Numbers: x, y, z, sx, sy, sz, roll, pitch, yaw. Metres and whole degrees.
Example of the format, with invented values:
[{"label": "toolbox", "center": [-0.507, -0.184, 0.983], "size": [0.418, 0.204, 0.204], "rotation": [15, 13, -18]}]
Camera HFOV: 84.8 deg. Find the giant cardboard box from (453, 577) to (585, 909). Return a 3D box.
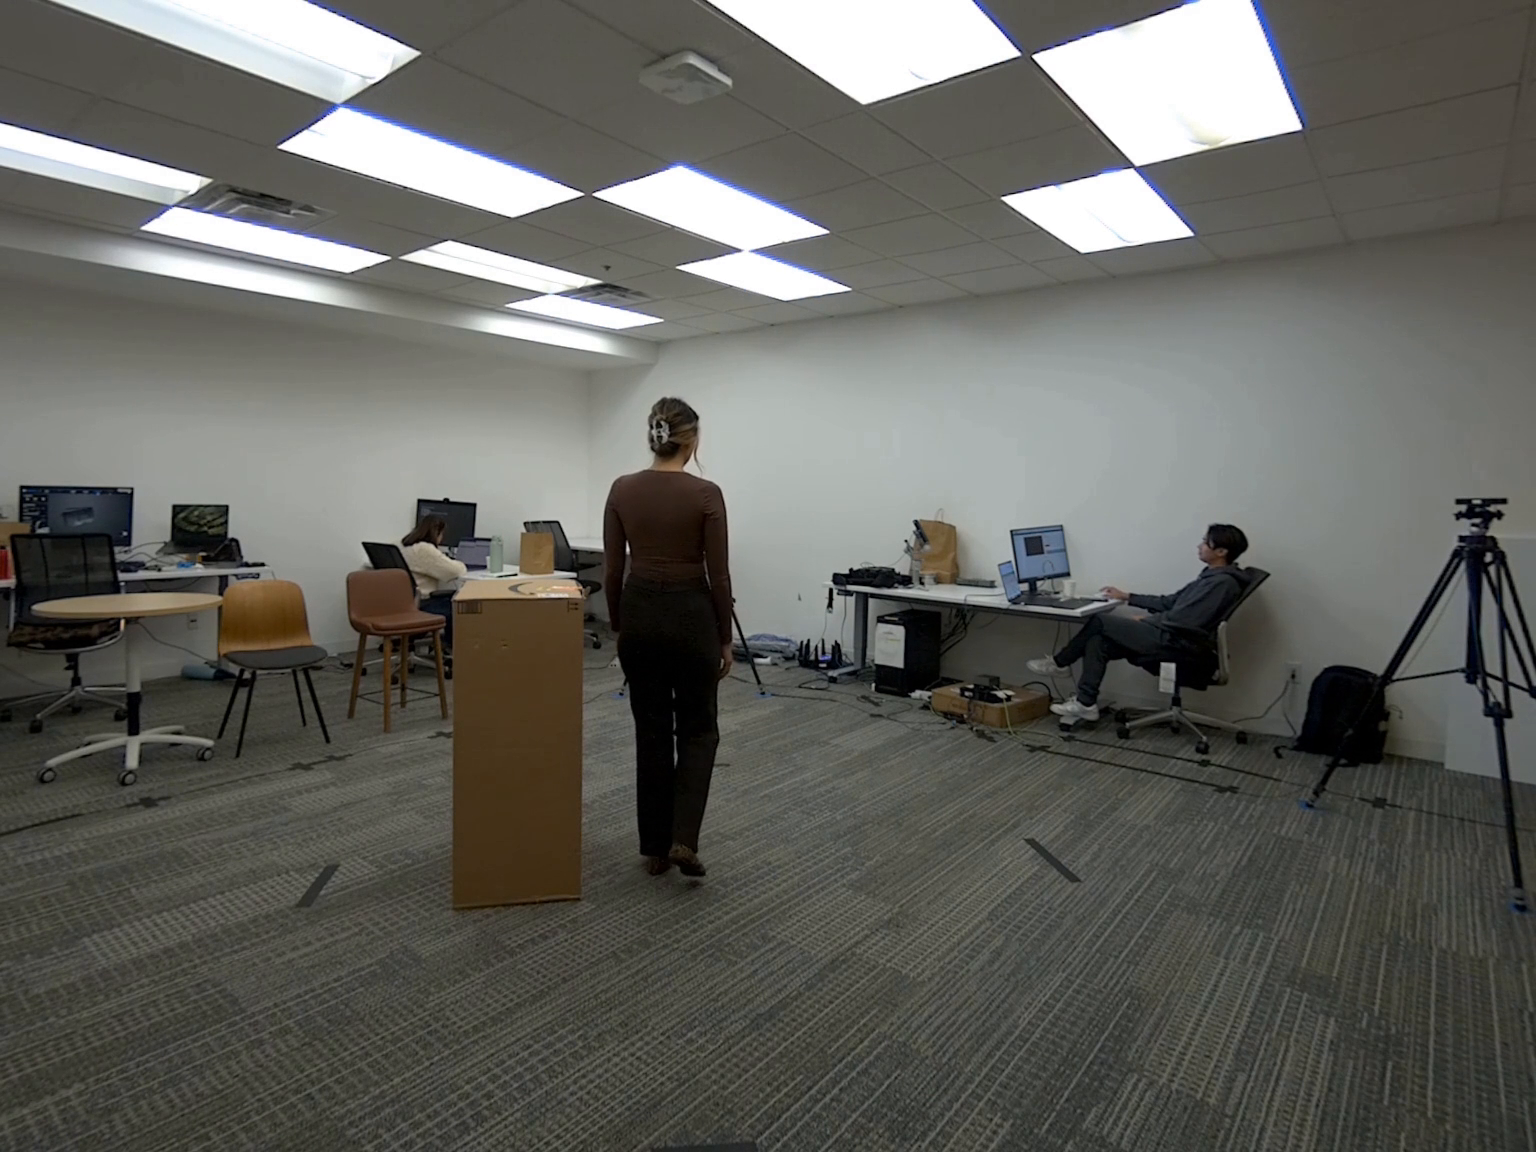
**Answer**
[{"label": "giant cardboard box", "center": [-0.915, 0.549, 3.084], "size": [0.440, 1.024, 0.595], "rotation": [-1, 4, -16]}]
